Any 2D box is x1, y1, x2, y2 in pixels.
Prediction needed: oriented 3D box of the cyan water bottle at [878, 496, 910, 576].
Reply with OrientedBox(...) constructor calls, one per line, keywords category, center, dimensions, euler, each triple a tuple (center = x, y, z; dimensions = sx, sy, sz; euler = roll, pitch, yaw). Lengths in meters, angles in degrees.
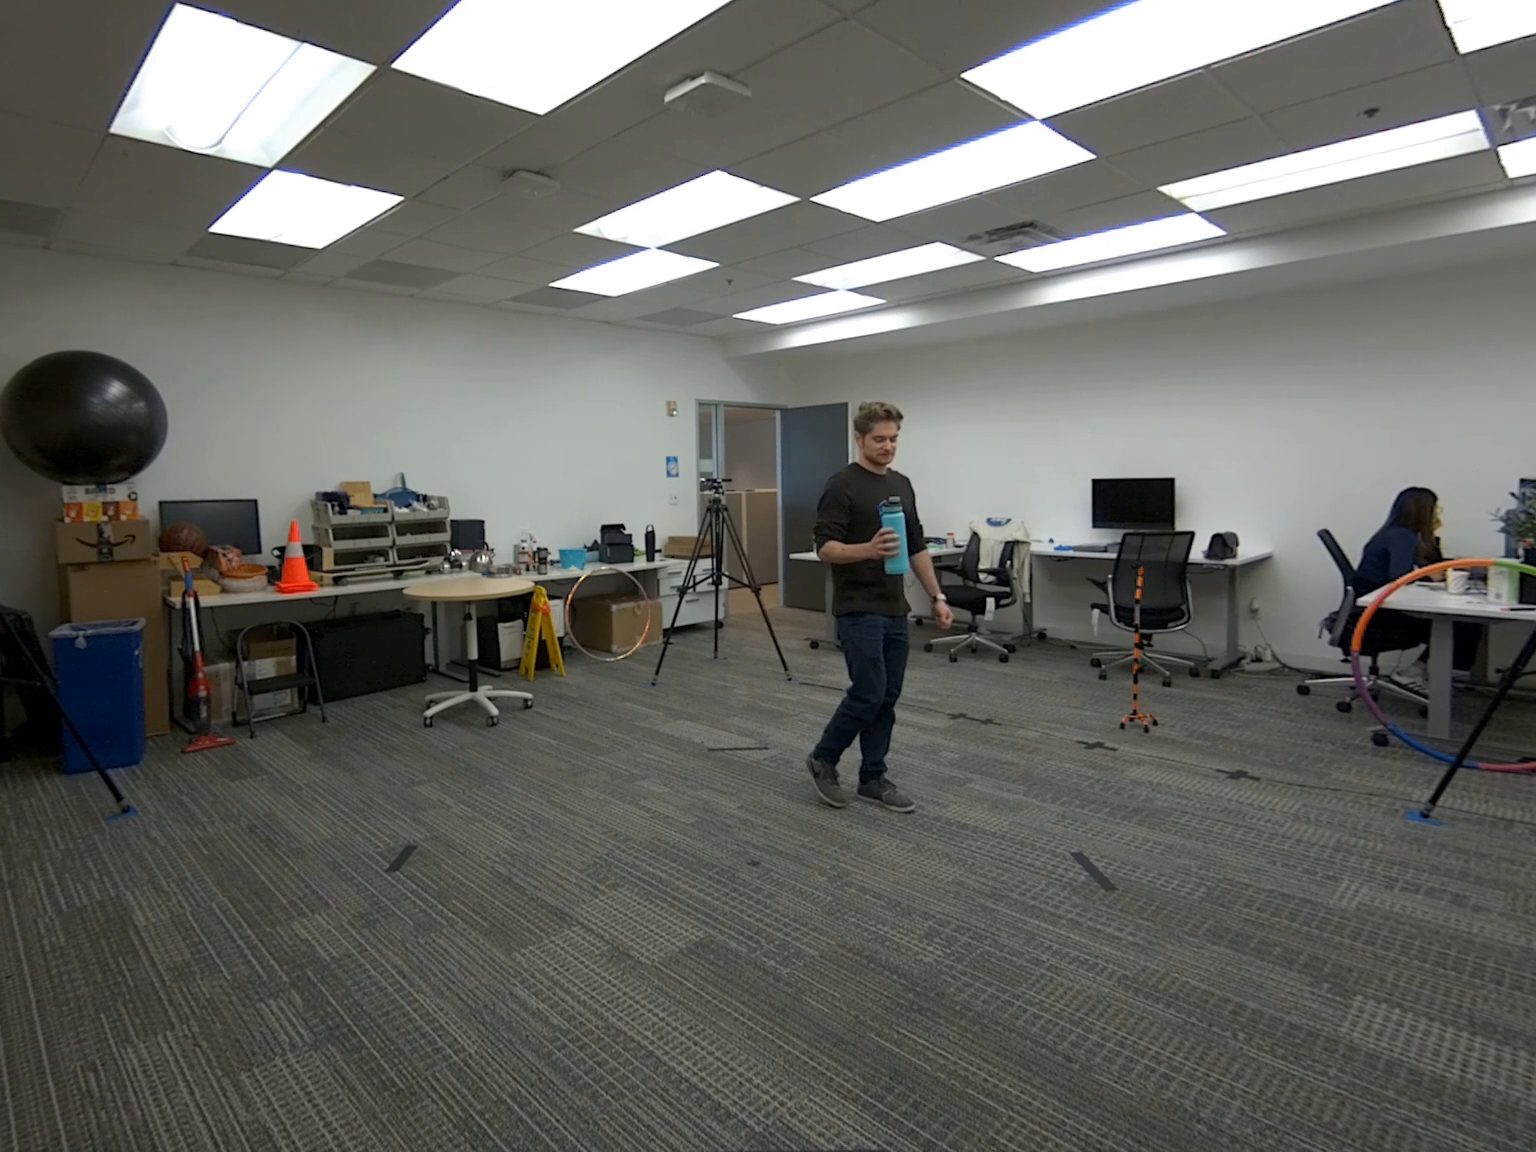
OrientedBox(category="cyan water bottle", center=(0.472, -0.154, 3.229), dimensions=(0.092, 0.281, 0.093), euler=(-8, 8, 0))
